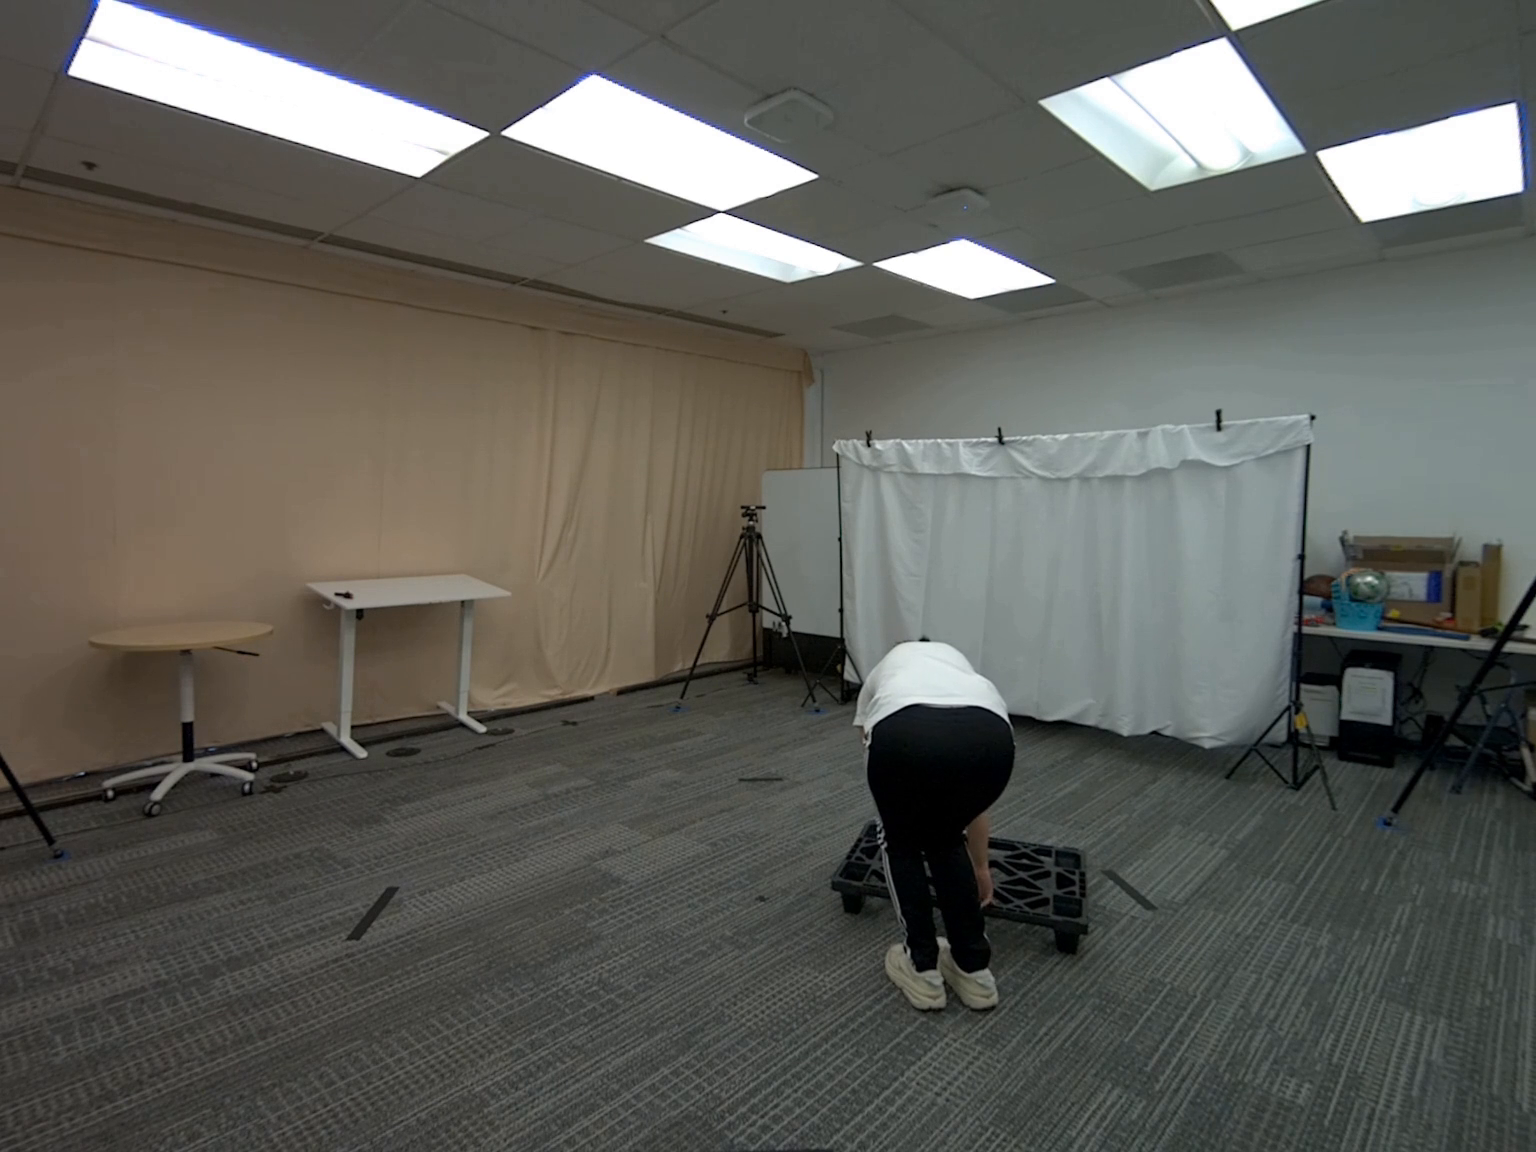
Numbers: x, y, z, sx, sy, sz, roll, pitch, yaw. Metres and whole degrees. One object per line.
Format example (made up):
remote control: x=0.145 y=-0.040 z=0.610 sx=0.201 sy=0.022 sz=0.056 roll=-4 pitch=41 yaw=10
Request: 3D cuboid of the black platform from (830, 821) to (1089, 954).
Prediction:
black platform: x=0.688 y=1.074 z=2.947 sx=0.824 sy=0.143 sz=0.593 roll=1 pitch=5 yaw=21
